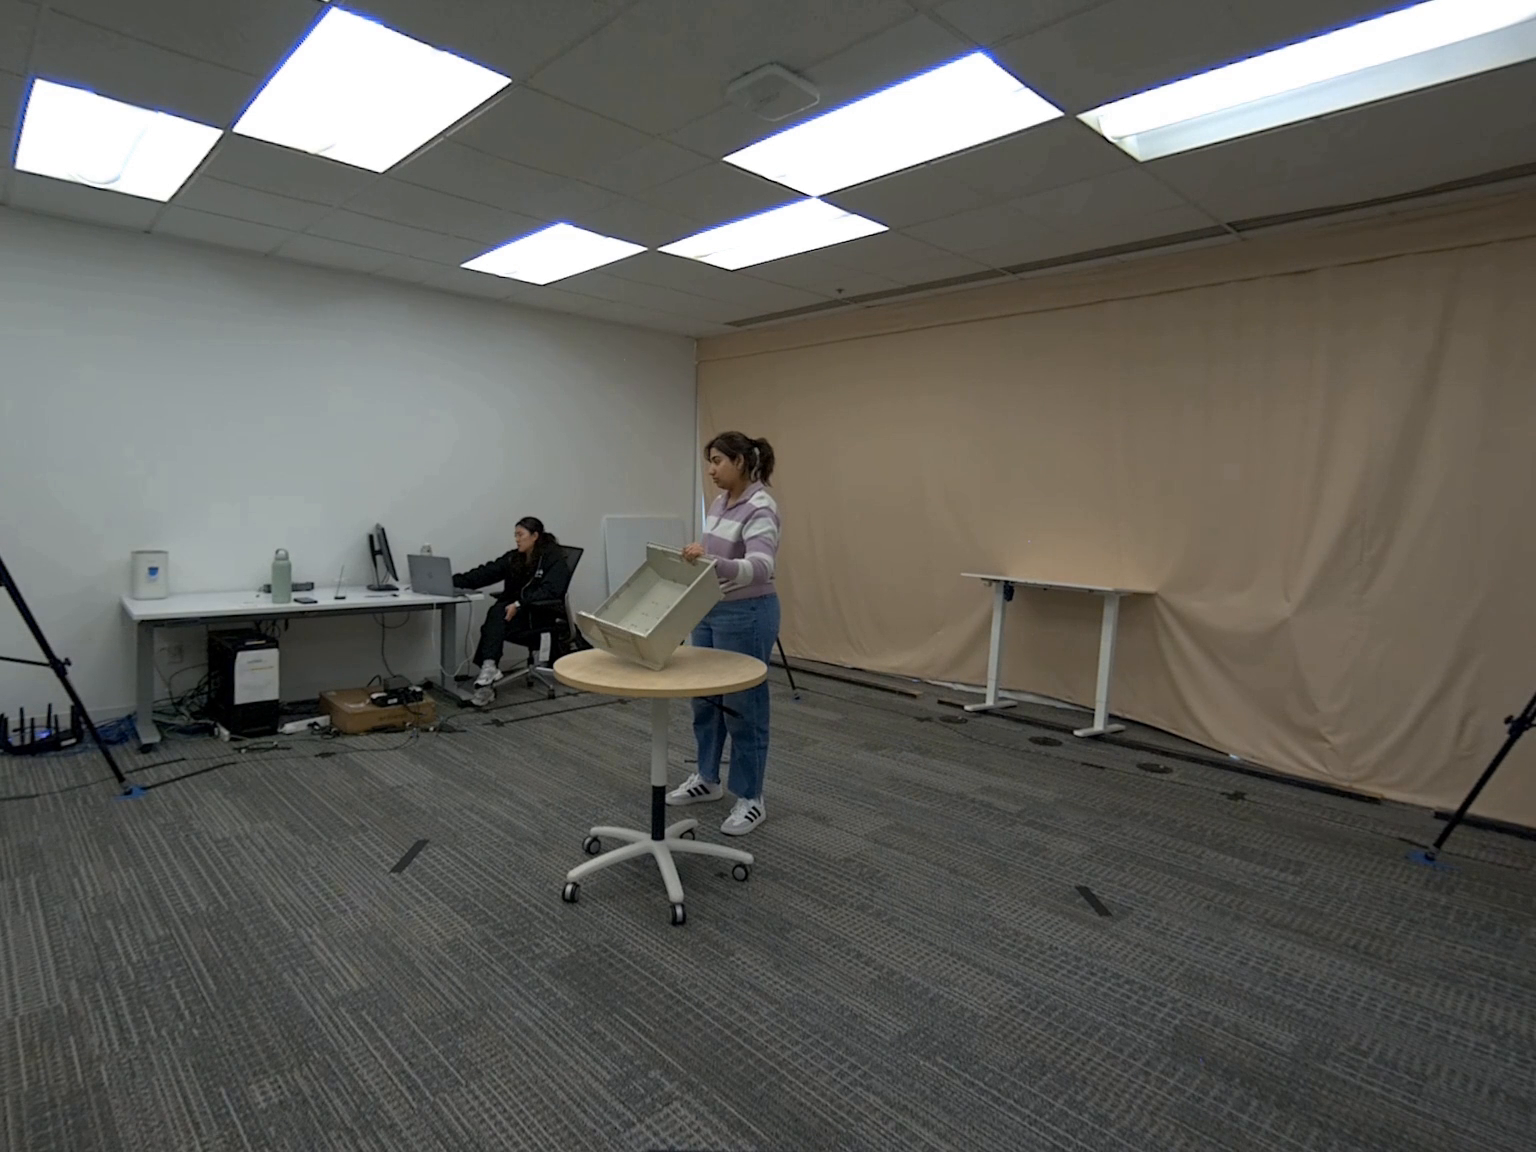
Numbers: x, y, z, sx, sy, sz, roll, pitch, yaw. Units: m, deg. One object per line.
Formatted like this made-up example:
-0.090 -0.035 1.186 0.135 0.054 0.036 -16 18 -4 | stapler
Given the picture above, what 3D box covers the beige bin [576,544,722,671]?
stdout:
-0.435 0.100 3.086 0.387 0.184 0.422 15 48 33 | beige bin
